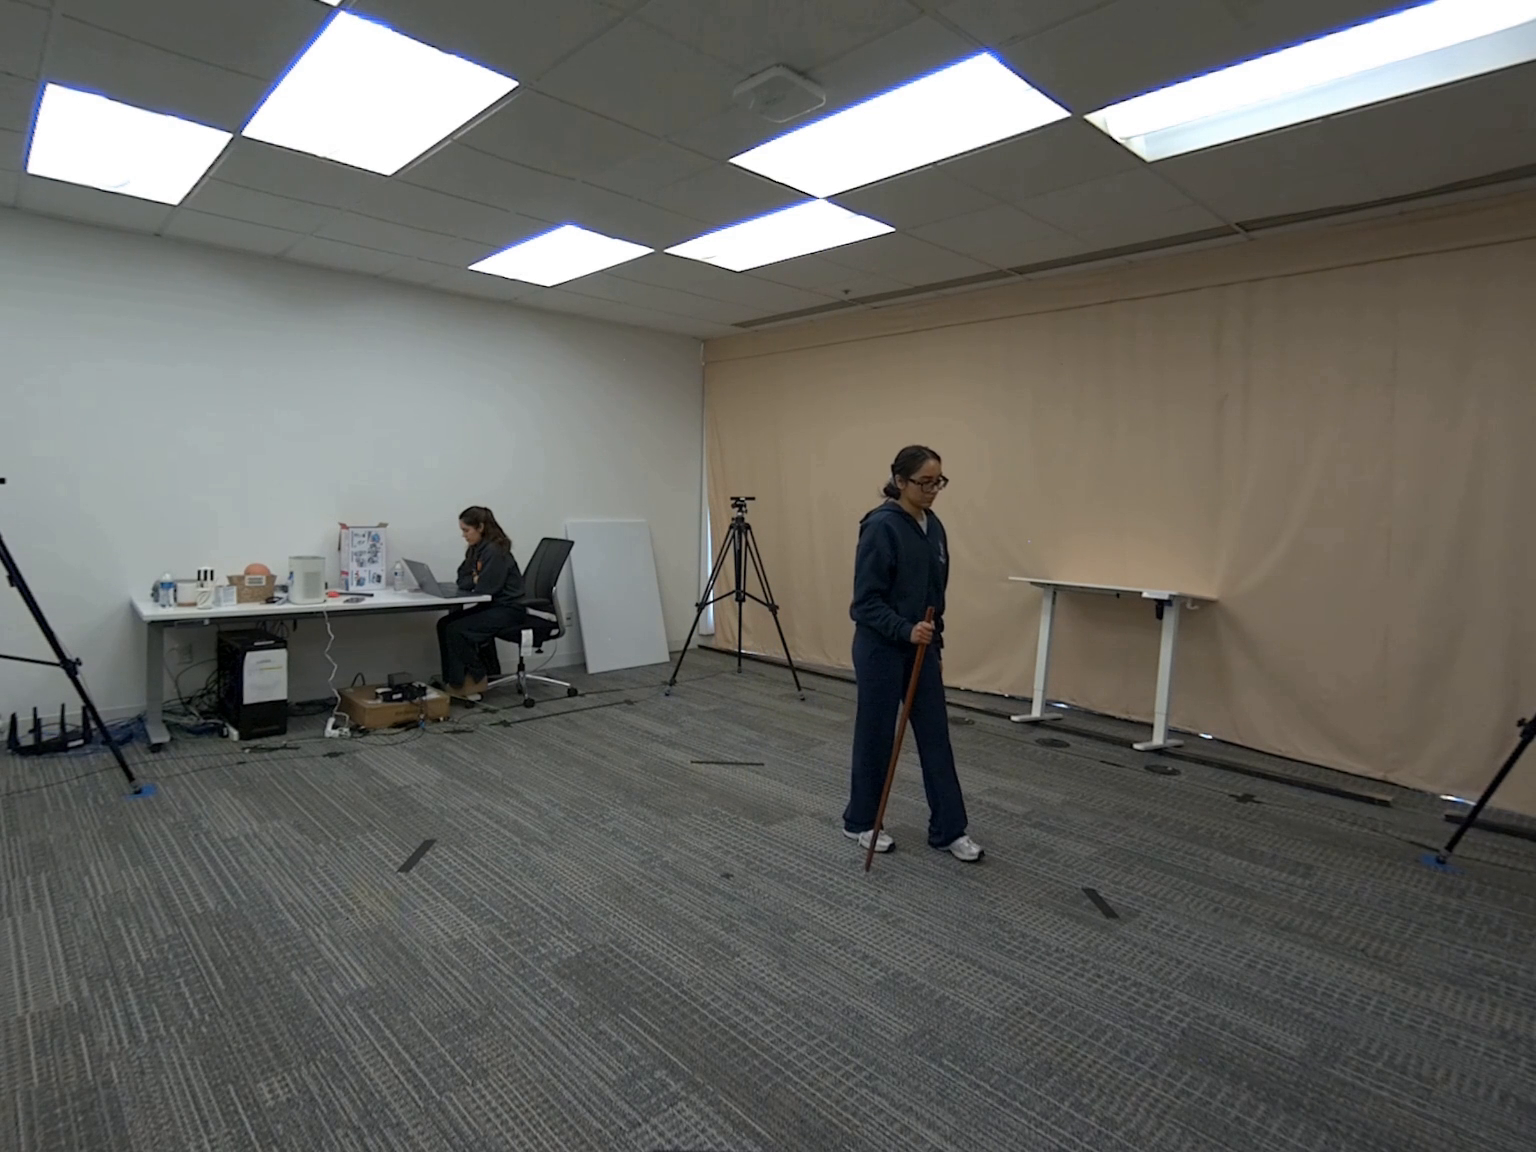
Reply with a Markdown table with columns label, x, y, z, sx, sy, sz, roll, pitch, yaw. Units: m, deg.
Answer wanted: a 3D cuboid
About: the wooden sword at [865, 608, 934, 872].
| label | x | y | z | sx | sy | sz | roll | pitch | yaw |
| --- | --- | --- | --- | --- | --- | --- | --- | --- | --- |
| wooden sword | 0.465 | 0.629 | 3.146 | 0.050 | 1.021 | 0.025 | 7 | 9 | -45 |
